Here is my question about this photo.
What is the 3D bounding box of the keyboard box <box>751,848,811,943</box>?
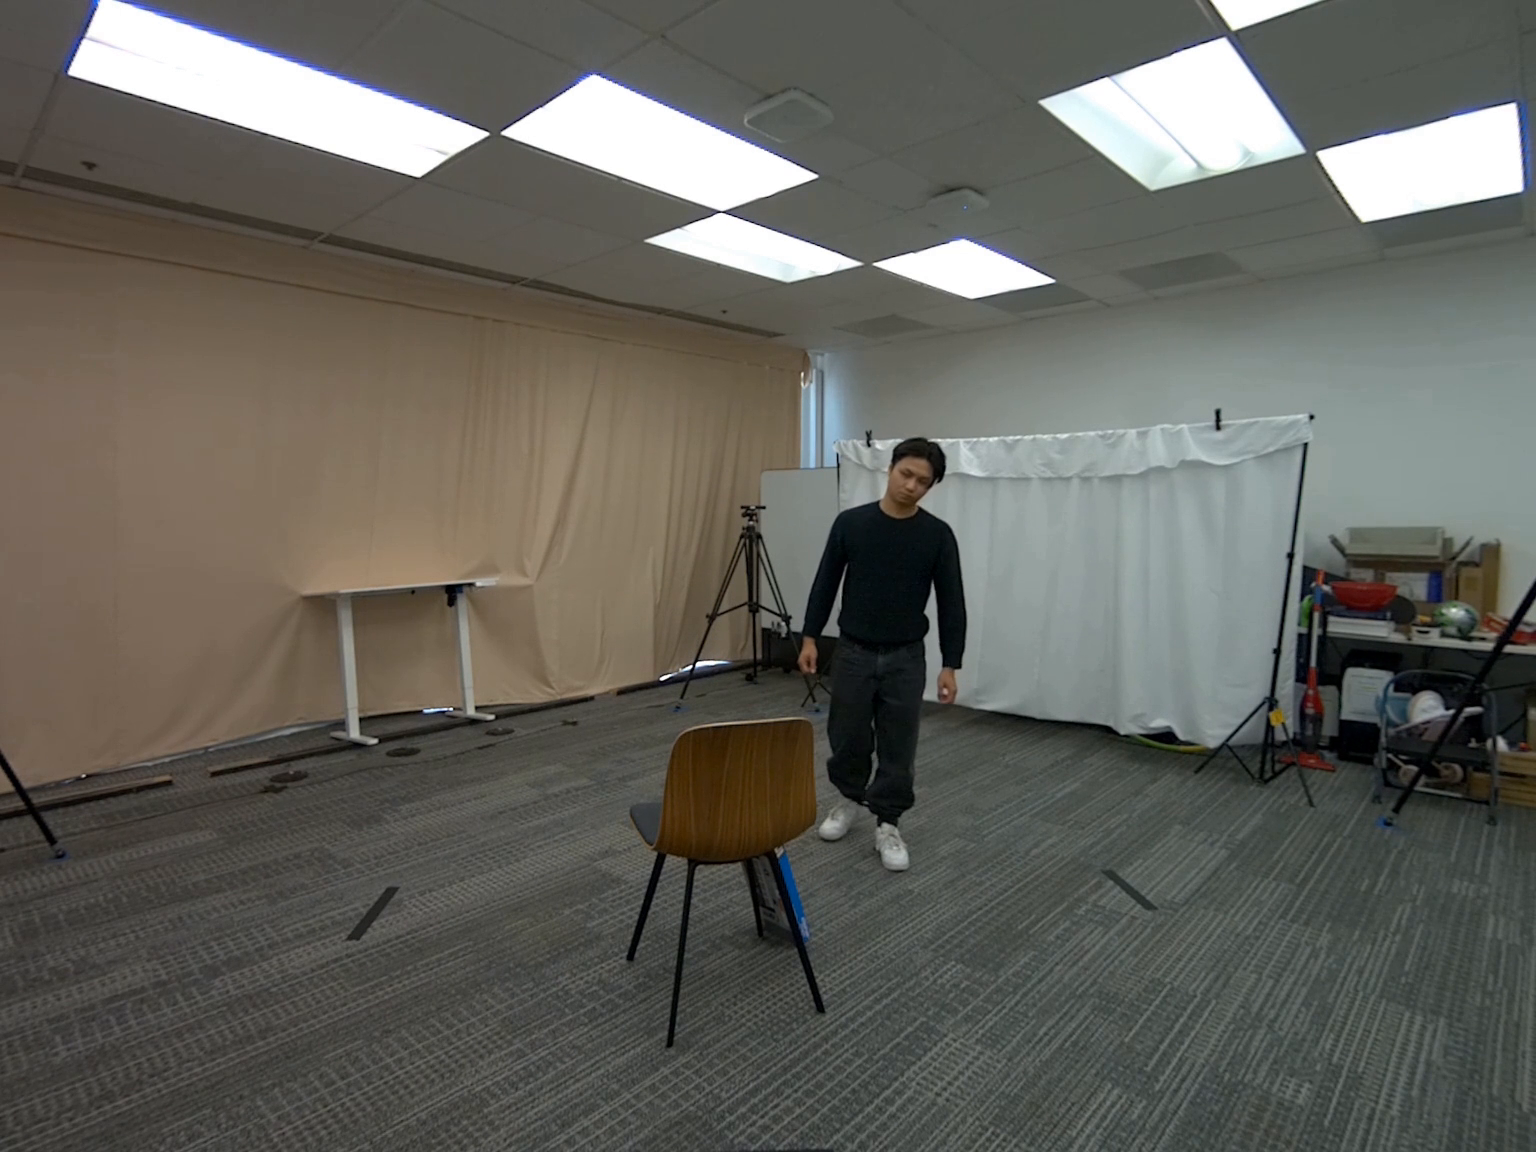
[{"bbox_3d":[0.007,0.959,2.668,0.182,0.430,0.058,4,25,46],"label":"keyboard box"}]
